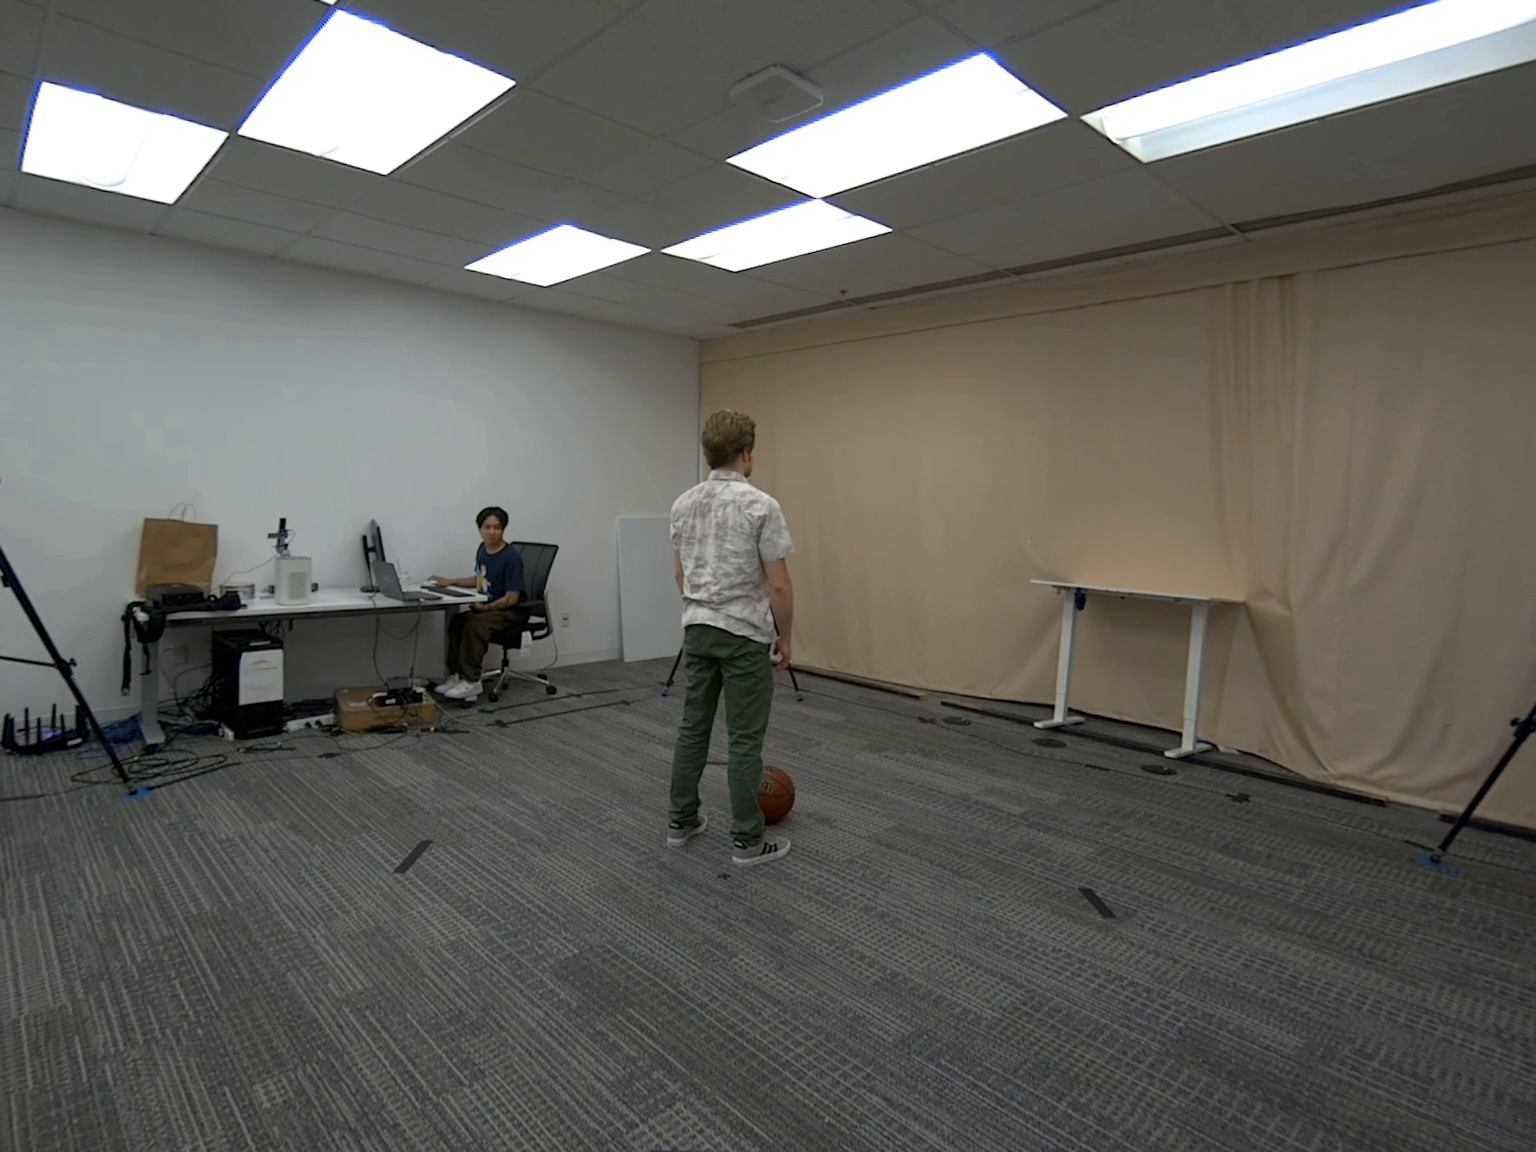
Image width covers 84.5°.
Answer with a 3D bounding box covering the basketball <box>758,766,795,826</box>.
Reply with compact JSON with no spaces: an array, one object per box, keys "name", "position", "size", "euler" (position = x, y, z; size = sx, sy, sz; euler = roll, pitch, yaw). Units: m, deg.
[{"name":"basketball","position":[-0.015,0.947,3.644],"size":[0.236,0.235,0.237],"euler":[1,4,-1]}]
